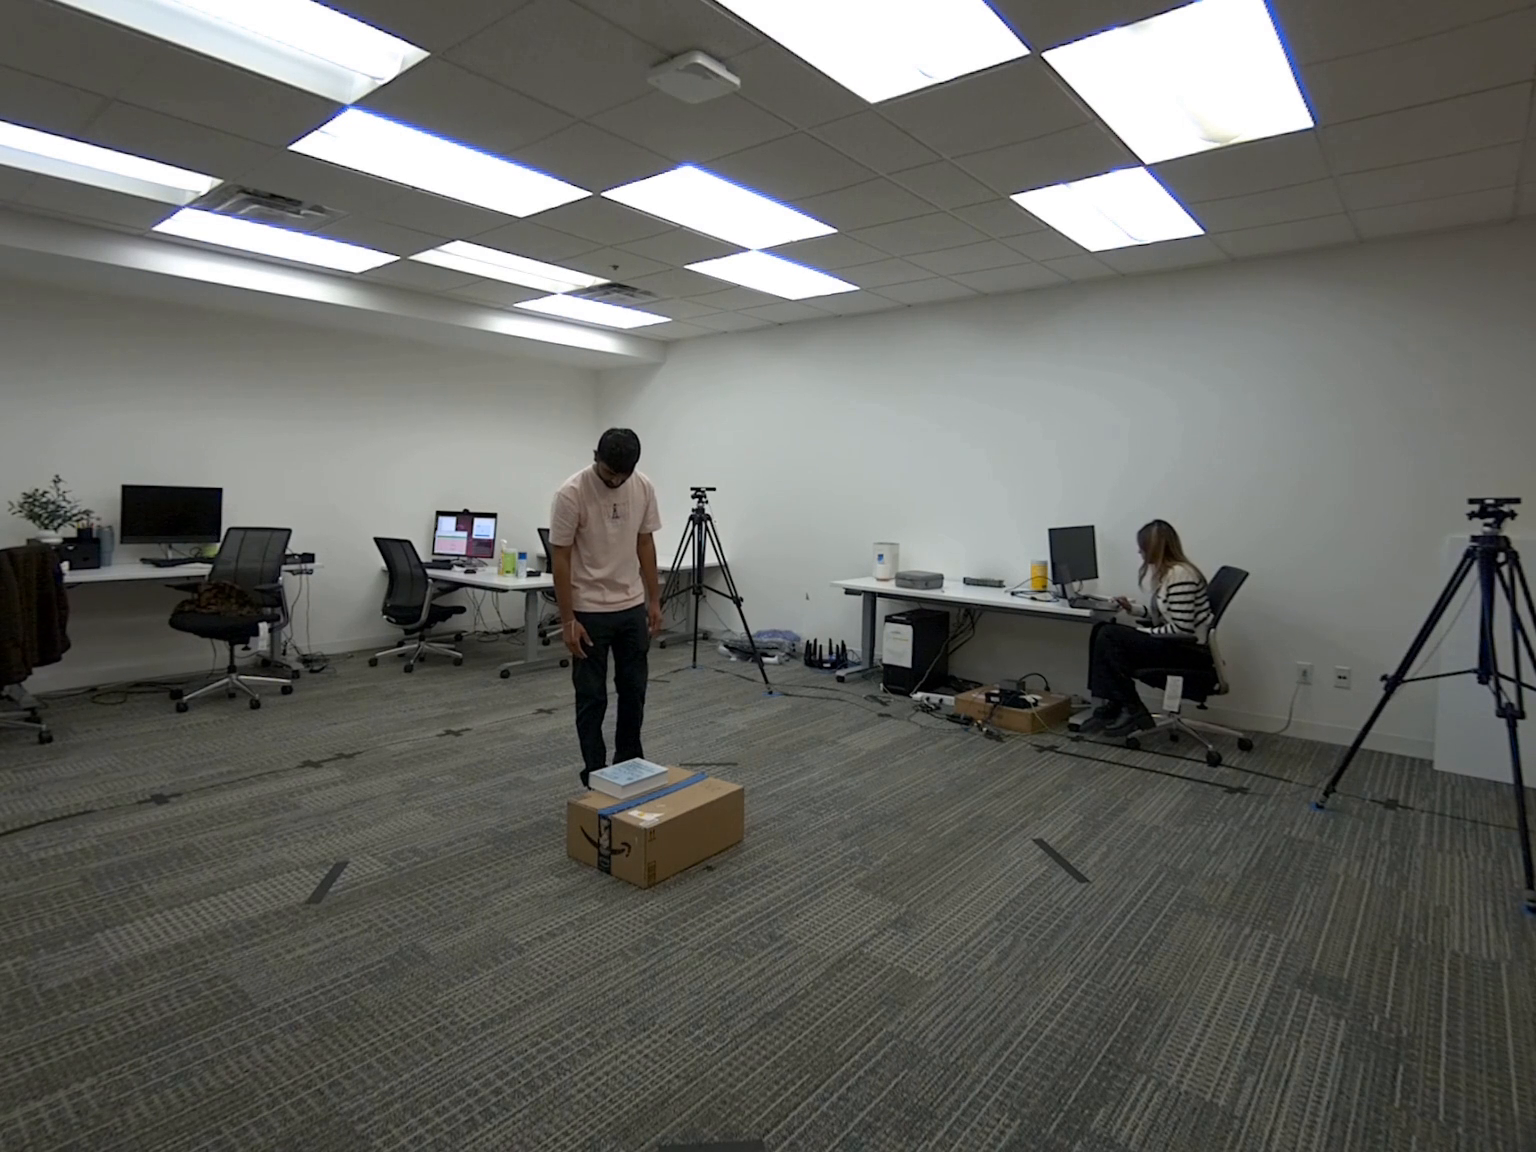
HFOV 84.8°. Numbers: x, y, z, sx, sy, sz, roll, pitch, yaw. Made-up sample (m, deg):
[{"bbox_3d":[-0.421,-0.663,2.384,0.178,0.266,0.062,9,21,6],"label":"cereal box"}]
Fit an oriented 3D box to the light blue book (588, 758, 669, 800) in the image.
[{"bbox_3d":[-0.554,0.796,3.359,0.198,0.059,0.253,8,8,38],"label":"light blue book"}]
